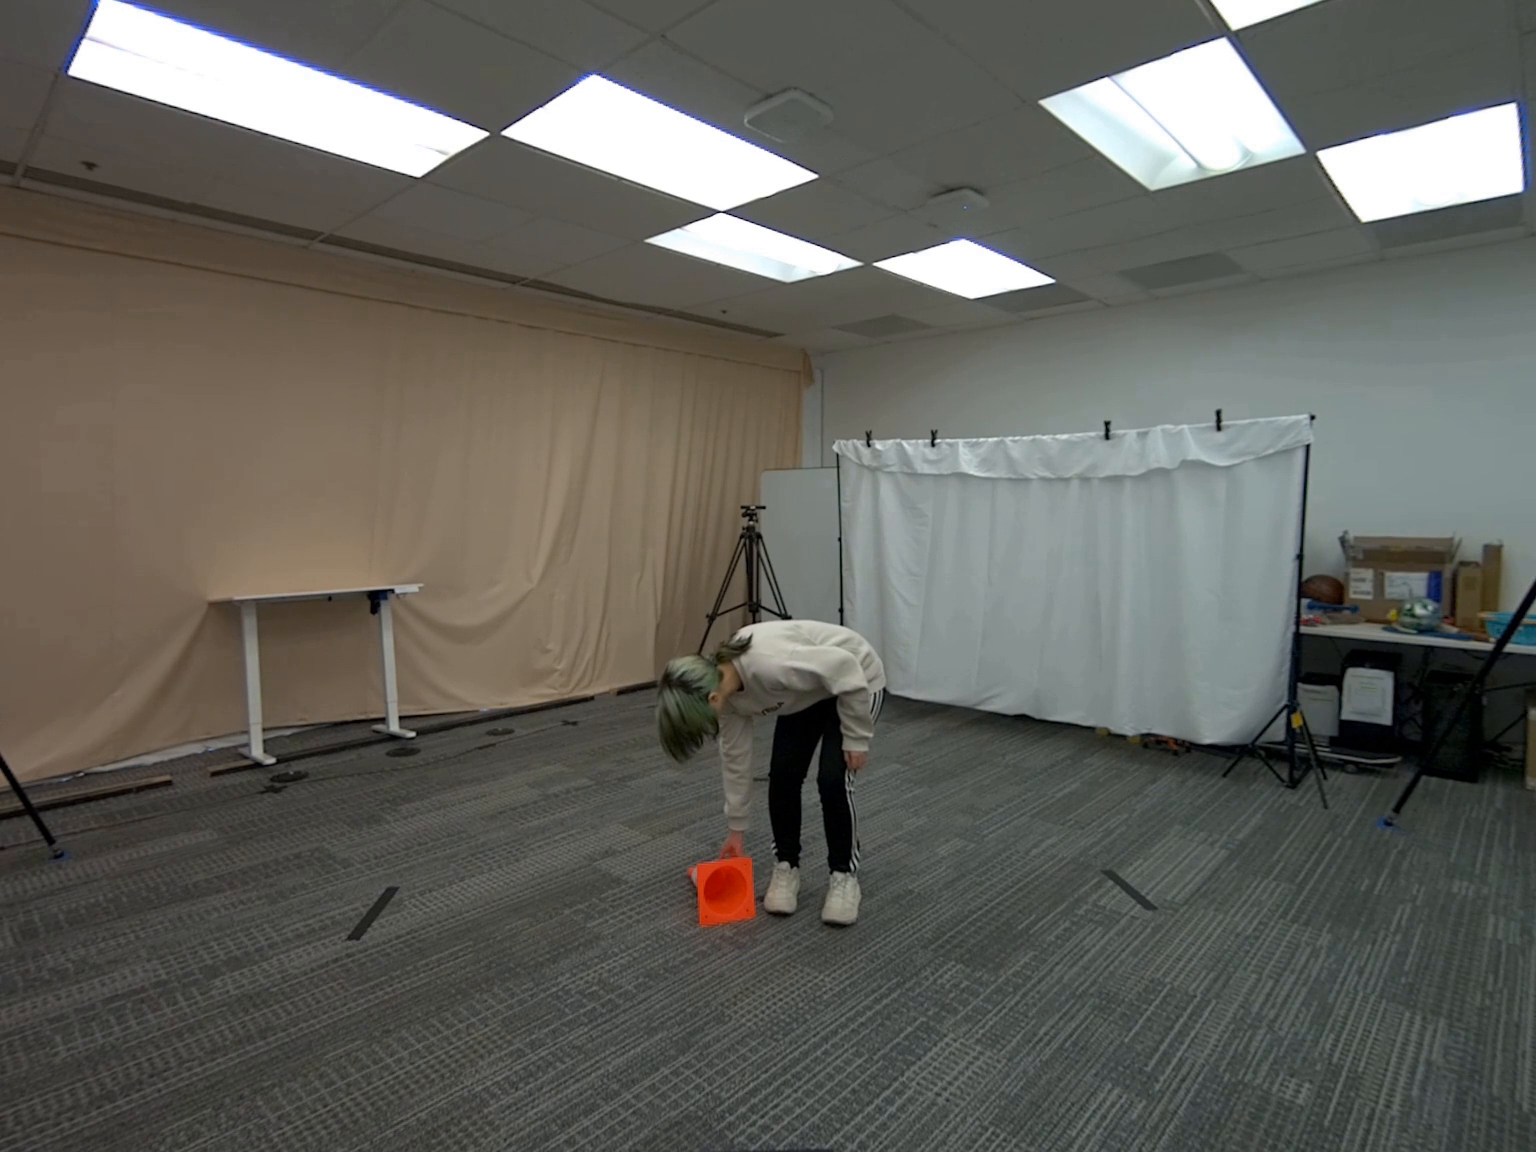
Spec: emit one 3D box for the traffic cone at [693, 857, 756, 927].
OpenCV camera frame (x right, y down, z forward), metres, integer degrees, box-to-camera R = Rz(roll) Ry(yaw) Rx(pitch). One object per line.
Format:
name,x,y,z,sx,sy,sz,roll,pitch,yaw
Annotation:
traffic cone,-0.211,1.093,3.007,0.199,0.206,0.389,-5,-7,-22
